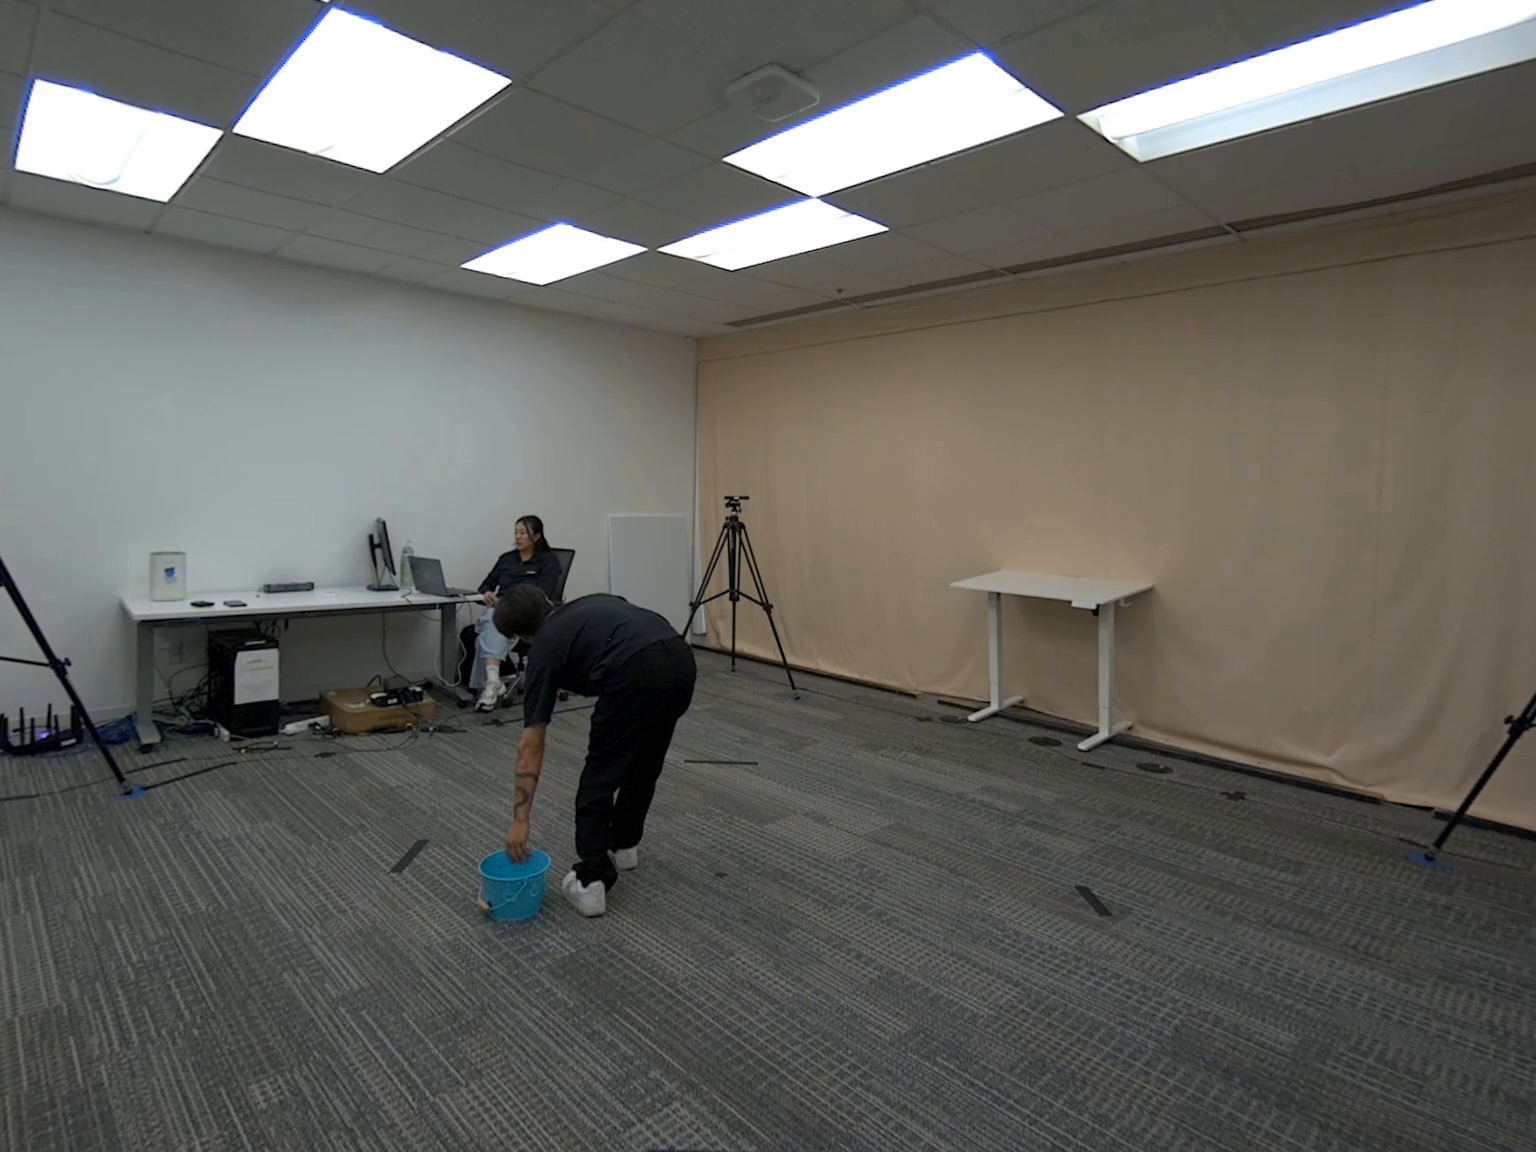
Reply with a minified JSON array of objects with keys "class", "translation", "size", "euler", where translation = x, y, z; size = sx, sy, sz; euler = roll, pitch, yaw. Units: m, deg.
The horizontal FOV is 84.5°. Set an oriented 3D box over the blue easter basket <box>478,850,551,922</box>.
[{"class":"blue easter basket","translation":[-0.846,1.033,2.818],"size":[0.243,0.155,0.245],"euler":[2,6,-2]}]
